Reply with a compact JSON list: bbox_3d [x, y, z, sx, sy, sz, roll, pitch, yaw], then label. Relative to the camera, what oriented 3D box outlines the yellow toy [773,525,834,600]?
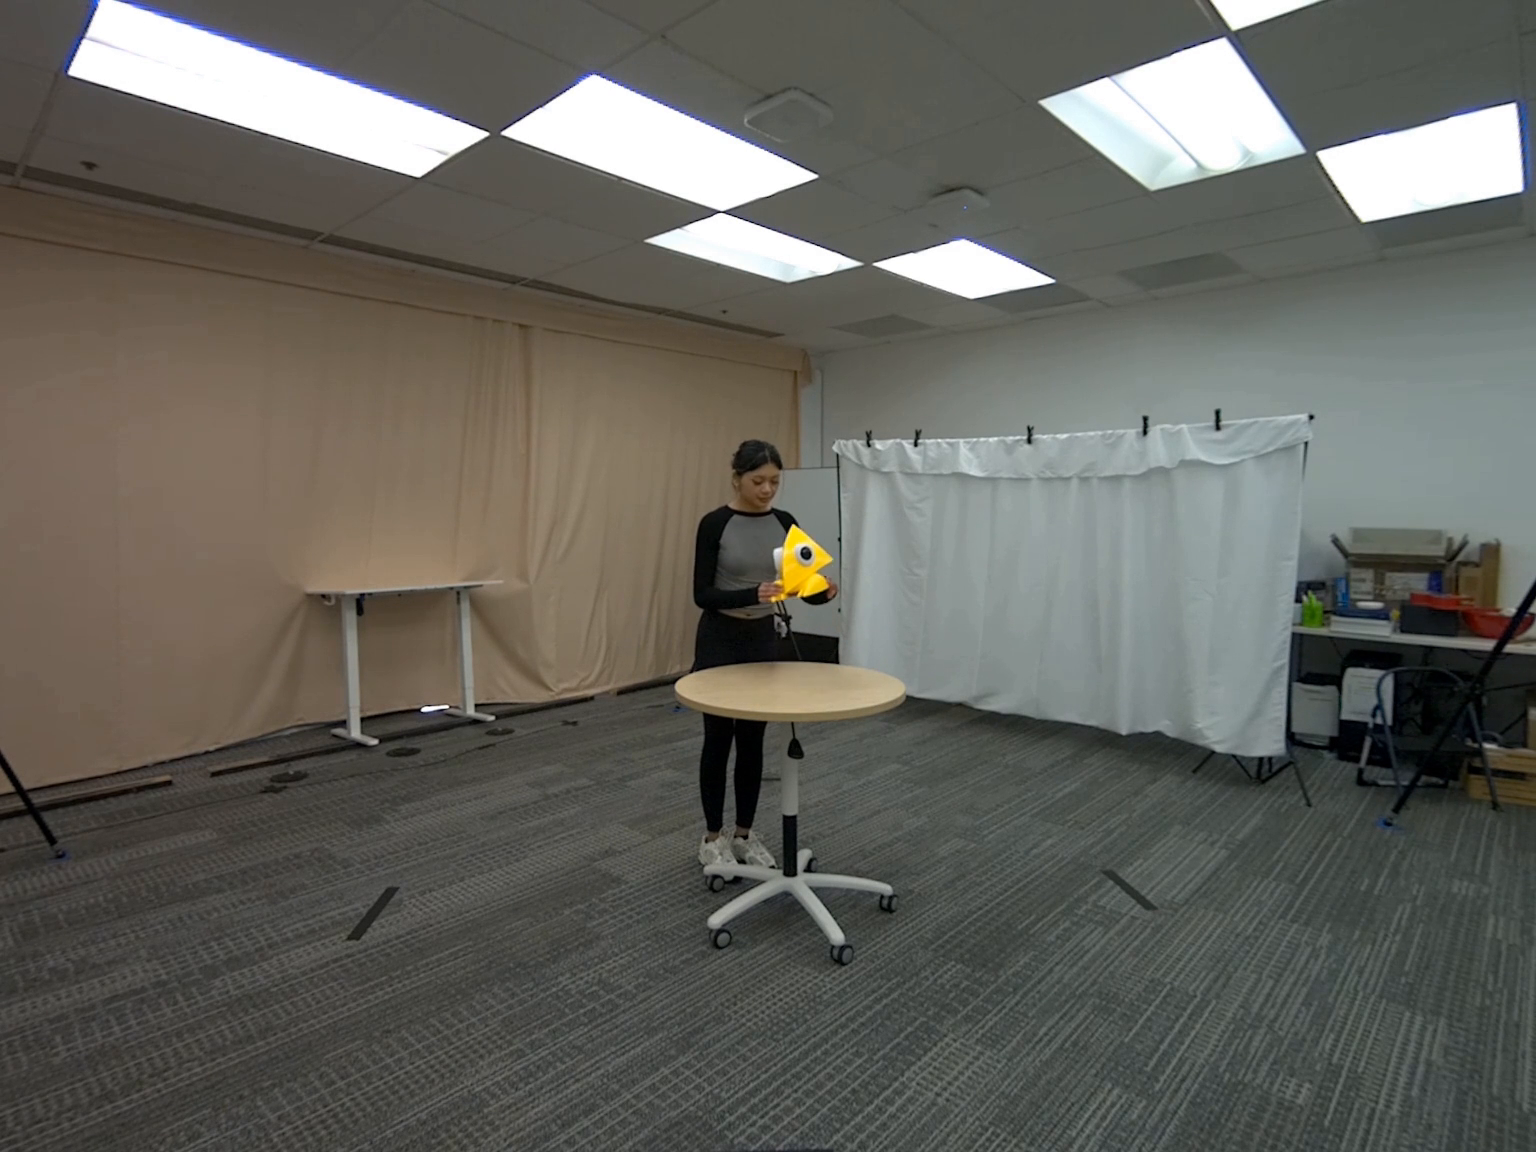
[{"bbox_3d":[0.089,-0.049,2.884,0.210,0.230,0.189,-11,7,35],"label":"yellow toy"}]
